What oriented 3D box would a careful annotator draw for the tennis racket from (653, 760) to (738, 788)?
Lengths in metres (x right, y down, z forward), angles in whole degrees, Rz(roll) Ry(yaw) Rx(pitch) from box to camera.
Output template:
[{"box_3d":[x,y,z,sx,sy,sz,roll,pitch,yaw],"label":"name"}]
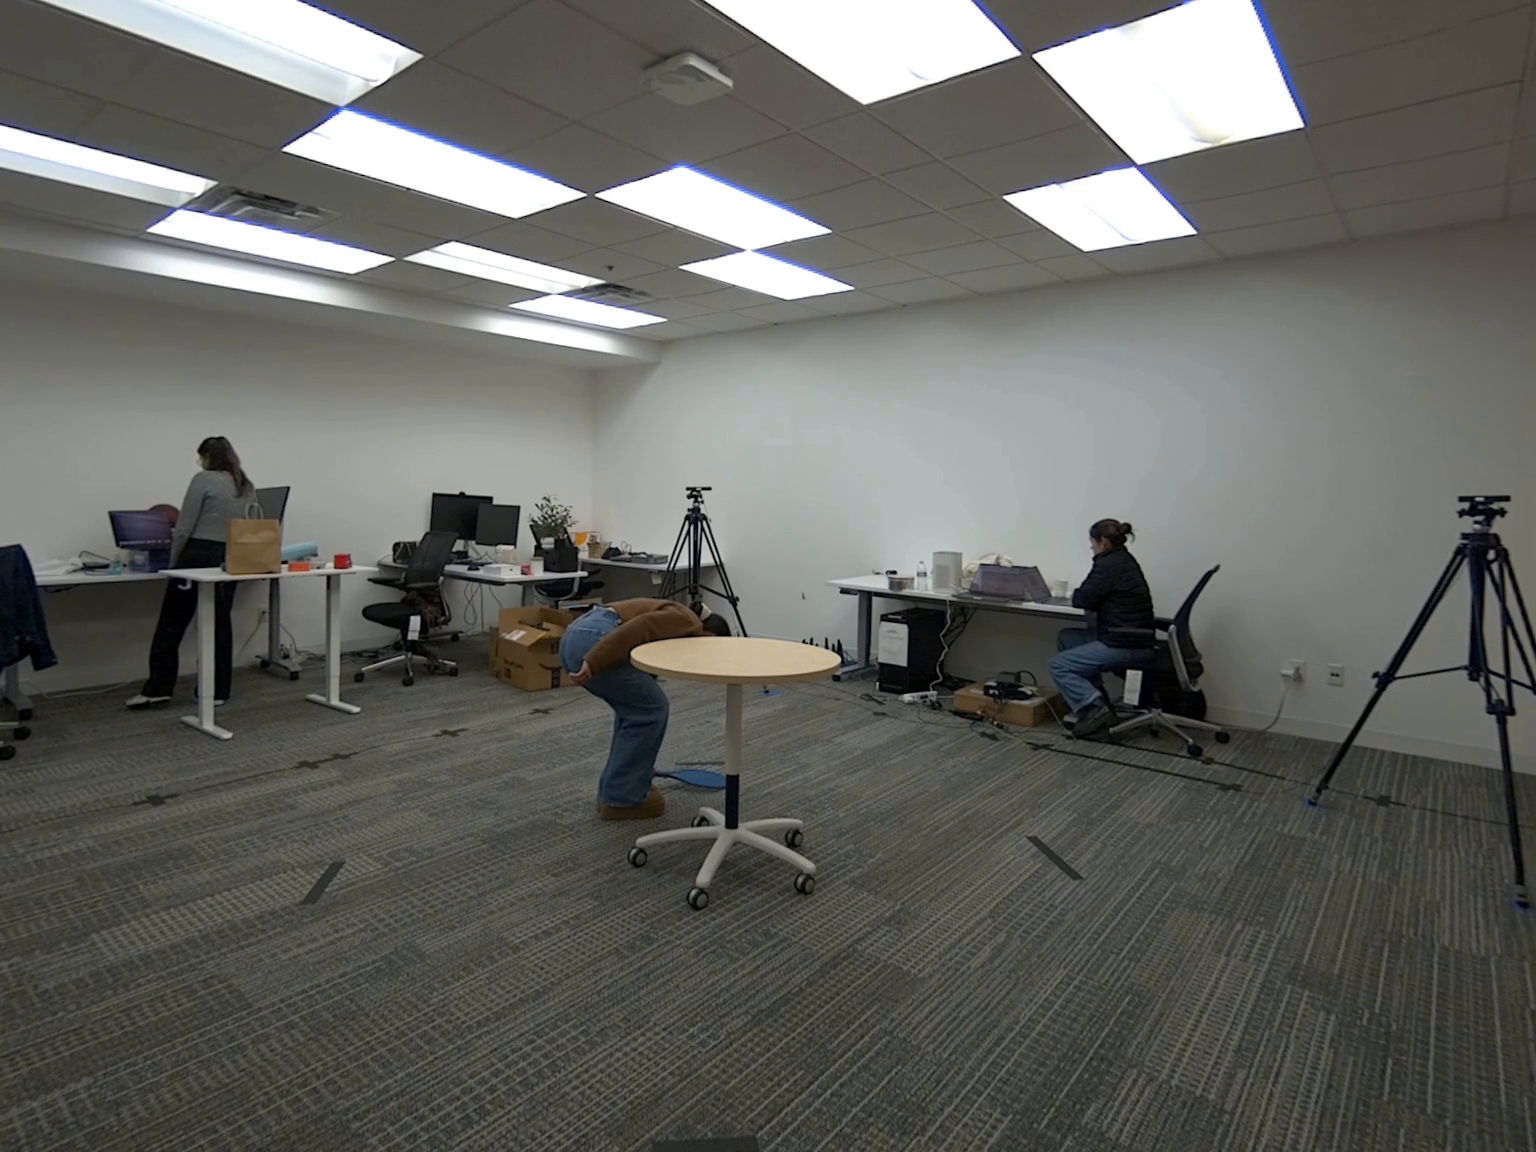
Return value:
[{"box_3d":[-0.385,0.928,3.966,0.423,0.032,0.219,9,3,-20],"label":"tennis racket"}]
